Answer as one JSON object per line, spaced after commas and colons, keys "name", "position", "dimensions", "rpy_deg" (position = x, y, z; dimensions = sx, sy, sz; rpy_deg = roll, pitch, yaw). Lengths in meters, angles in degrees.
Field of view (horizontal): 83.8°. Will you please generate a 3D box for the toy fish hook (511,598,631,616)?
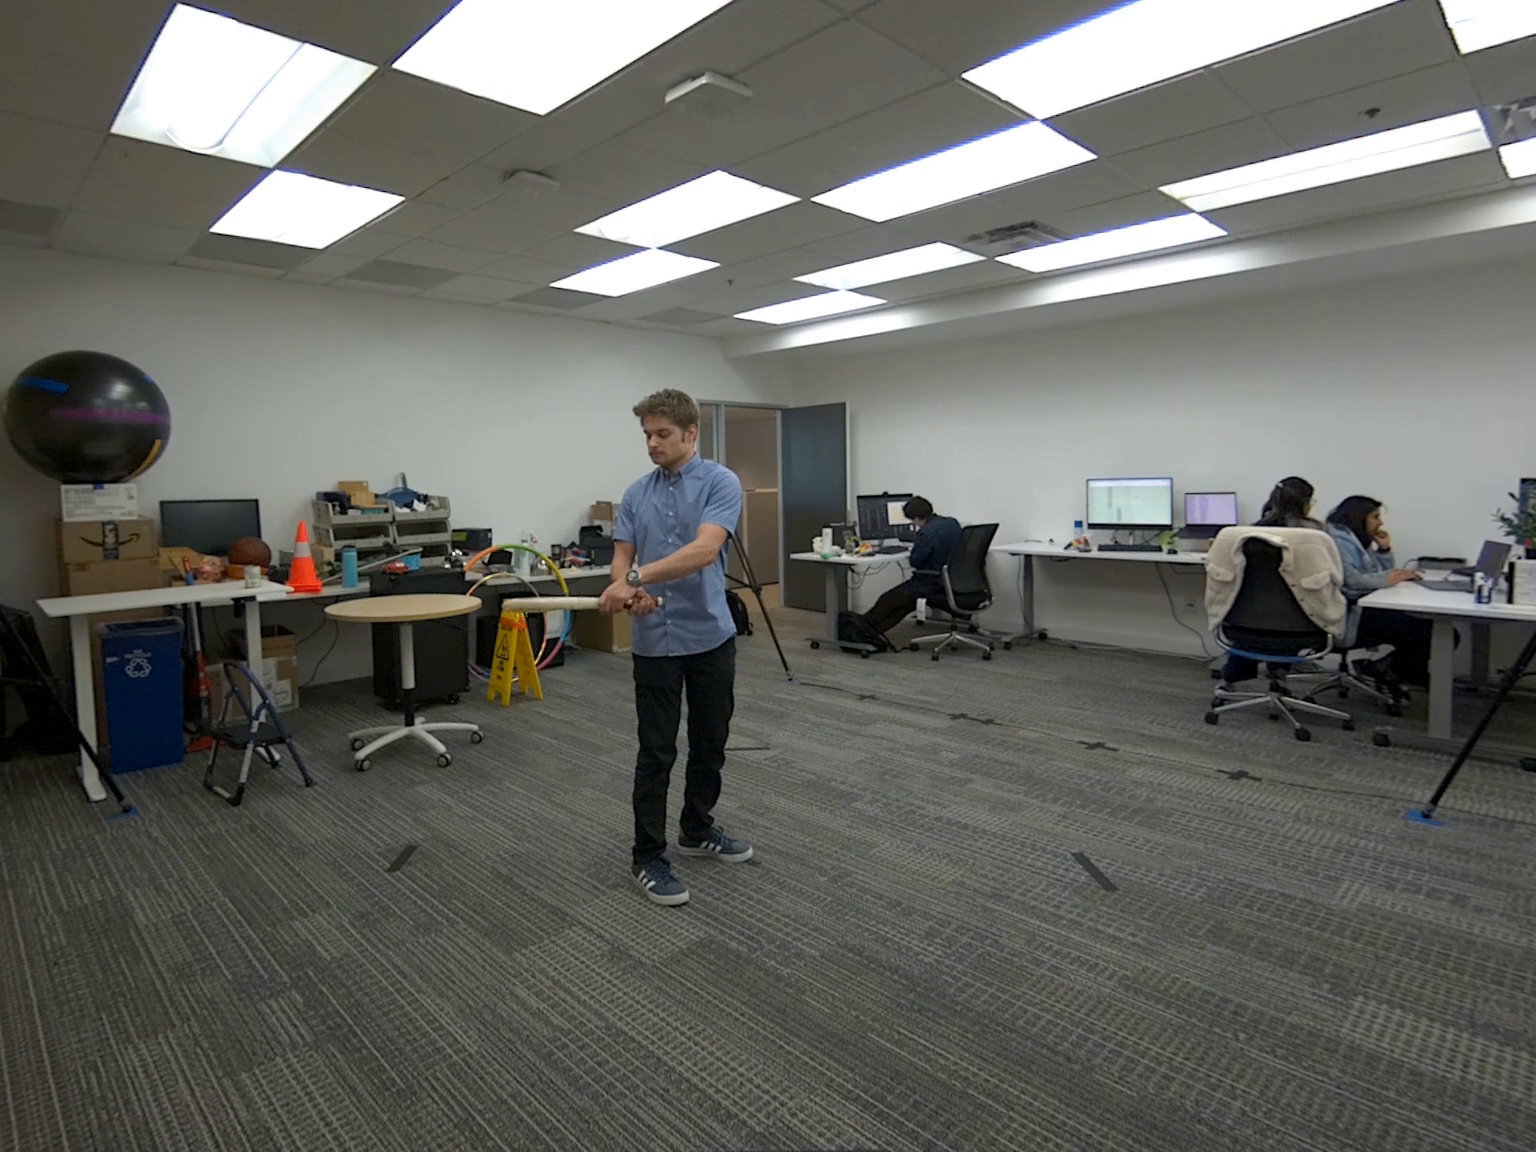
{"name": "toy fish hook", "position": [-0.550, 0.097, 2.728], "dimensions": [0.501, 0.048, 0.226], "rpy_deg": [1, -1, -10]}
